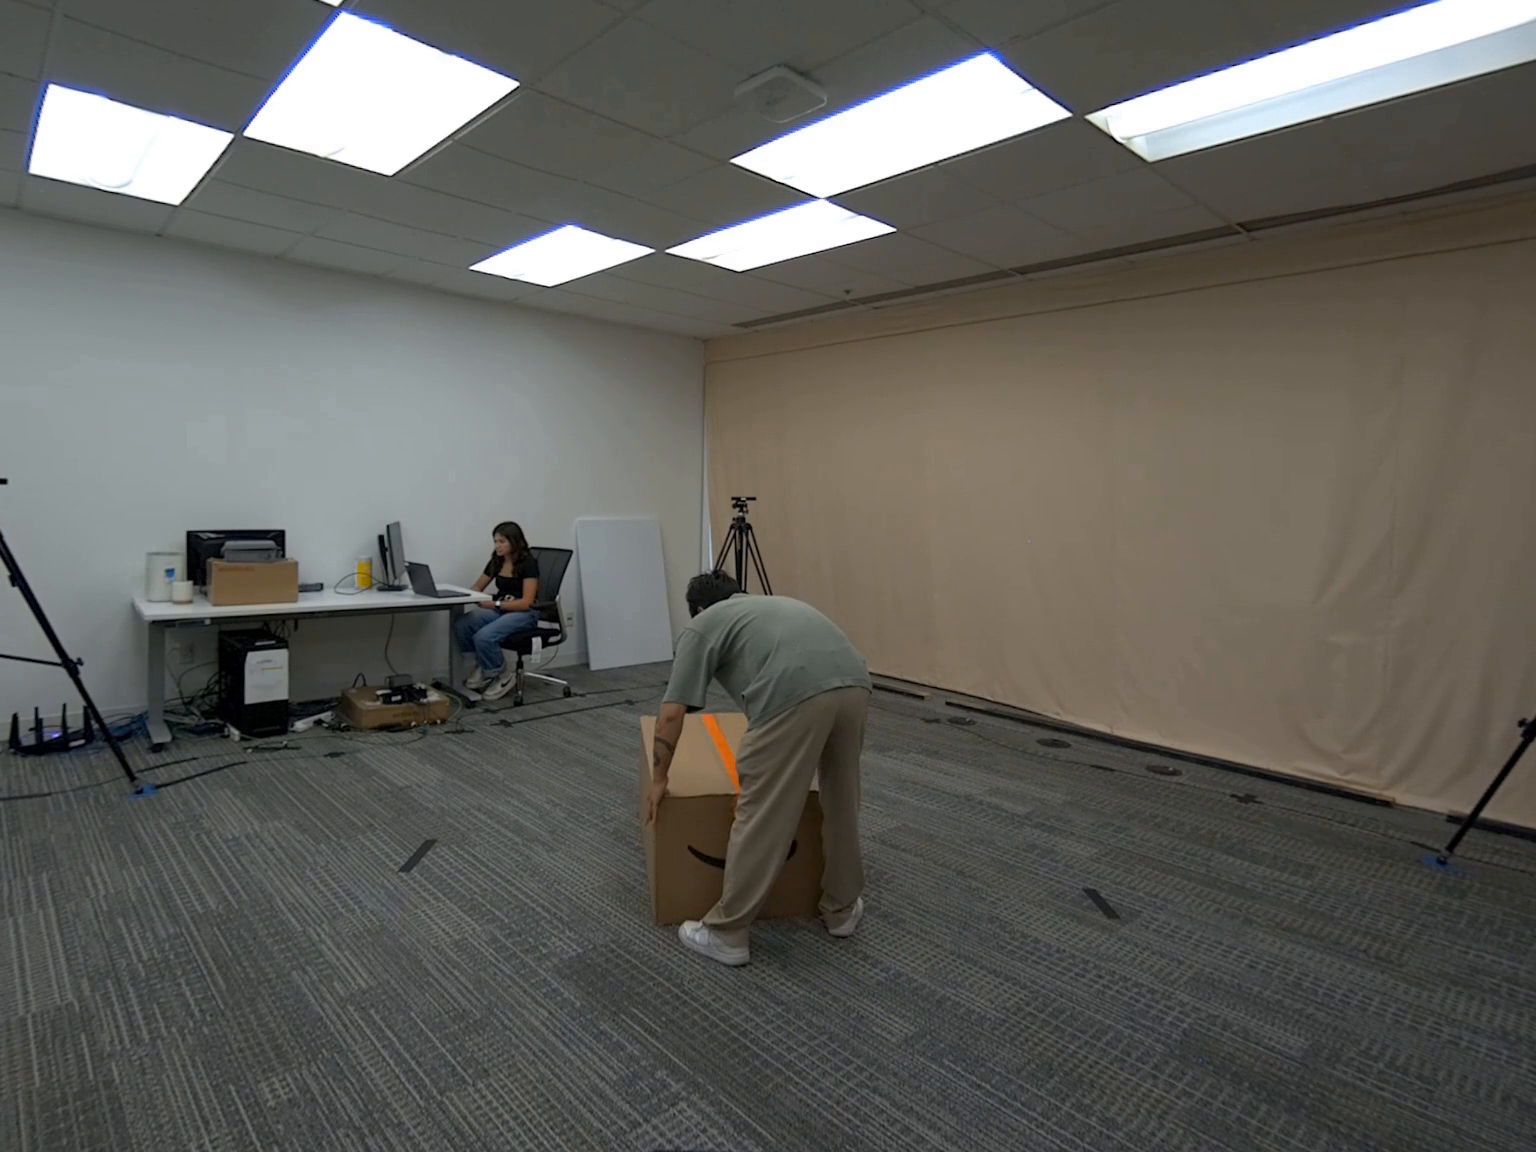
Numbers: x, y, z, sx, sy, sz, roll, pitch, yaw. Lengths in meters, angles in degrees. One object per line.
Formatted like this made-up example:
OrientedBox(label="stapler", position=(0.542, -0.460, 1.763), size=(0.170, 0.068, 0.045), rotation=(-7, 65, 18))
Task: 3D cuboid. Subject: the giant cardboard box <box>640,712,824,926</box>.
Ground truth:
OrientedBox(label="giant cardboard box", position=(-0.191, 0.872, 3.273), size=(0.573, 0.425, 1.037), rotation=(0, 5, -11))
